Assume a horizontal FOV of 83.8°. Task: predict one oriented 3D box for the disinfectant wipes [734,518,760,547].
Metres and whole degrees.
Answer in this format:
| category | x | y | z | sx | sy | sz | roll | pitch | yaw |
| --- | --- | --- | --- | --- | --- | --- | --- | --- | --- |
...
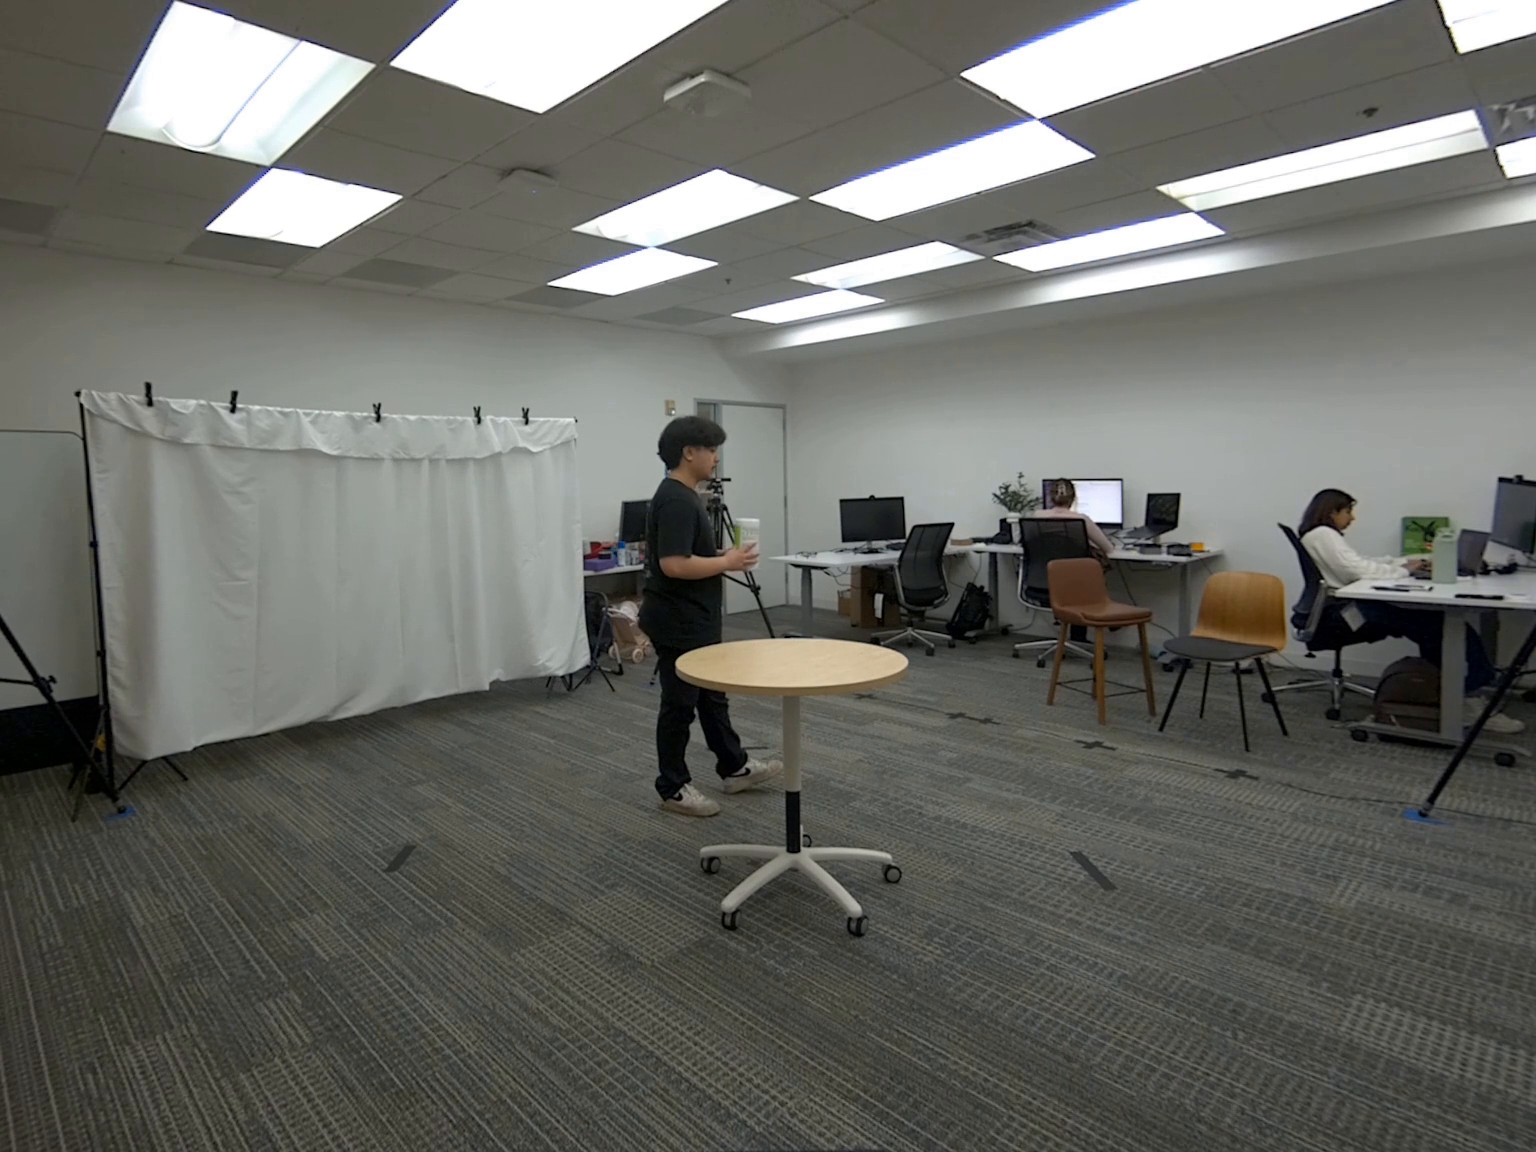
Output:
| category | x | y | z | sx | sy | sz | roll | pitch | yaw |
| --- | --- | --- | --- | --- | --- | --- | --- | --- | --- |
| disinfectant wipes | -0.096 | -0.132 | 3.588 | 0.118 | 0.217 | 0.118 | 2 | 4 | -2 |
